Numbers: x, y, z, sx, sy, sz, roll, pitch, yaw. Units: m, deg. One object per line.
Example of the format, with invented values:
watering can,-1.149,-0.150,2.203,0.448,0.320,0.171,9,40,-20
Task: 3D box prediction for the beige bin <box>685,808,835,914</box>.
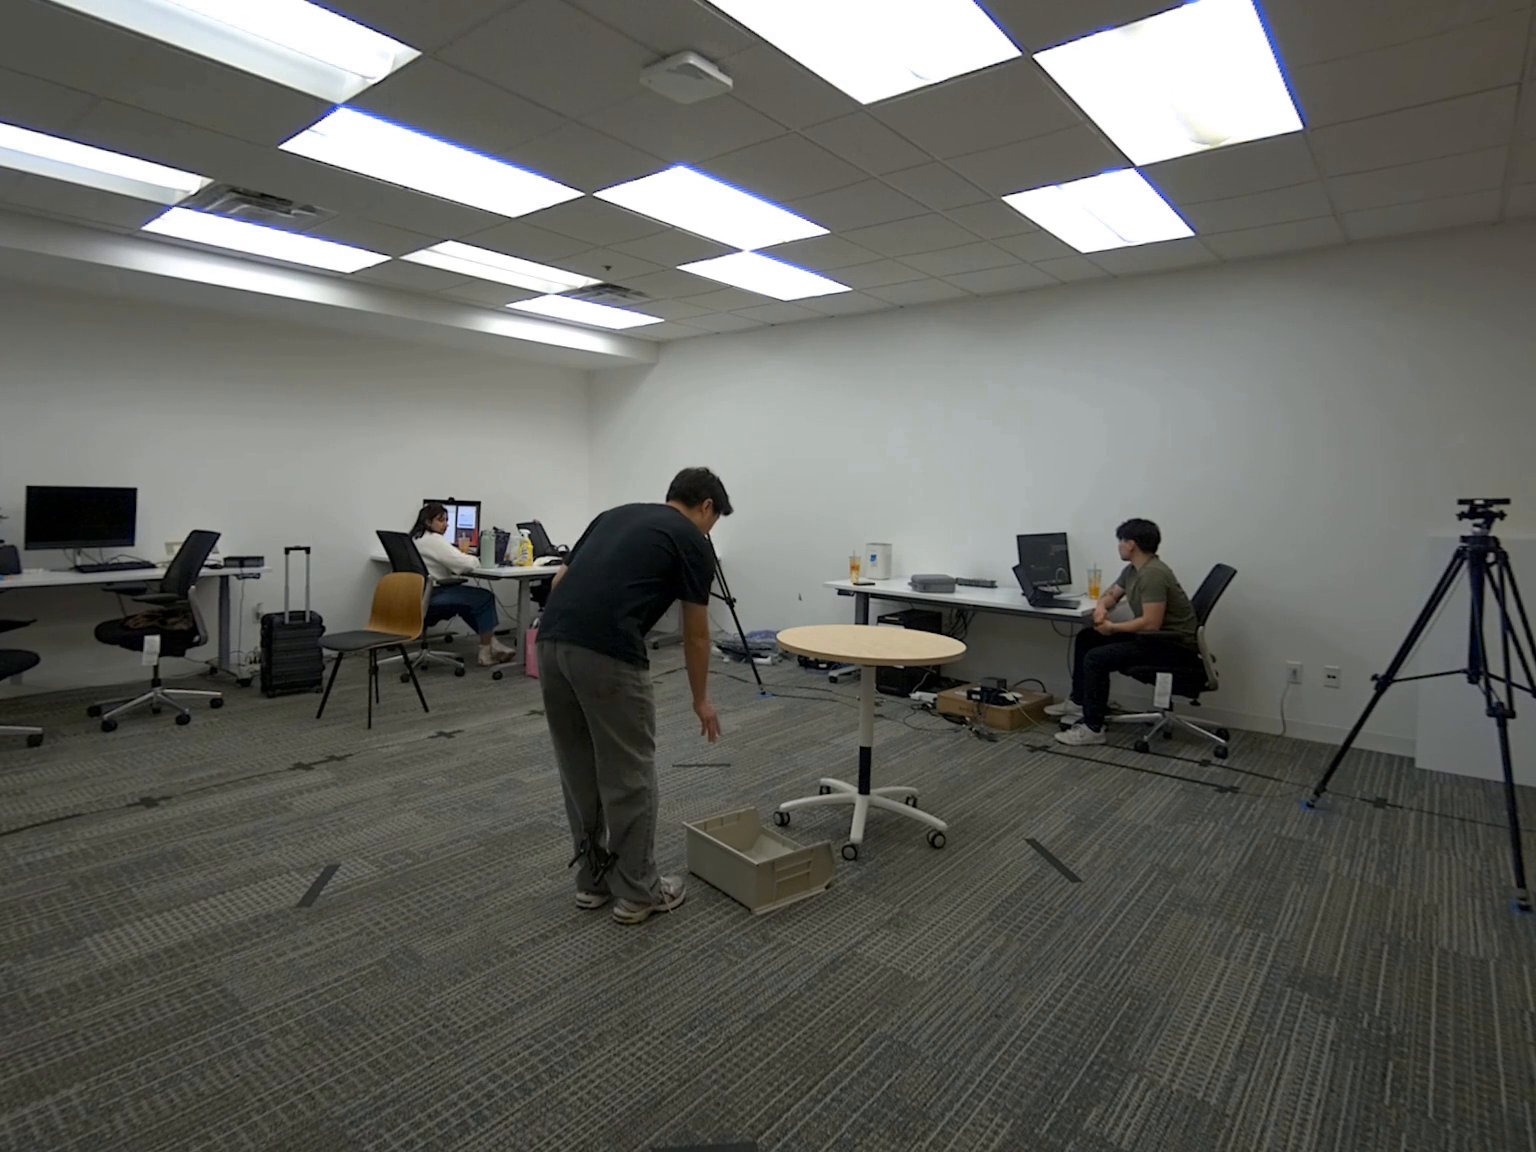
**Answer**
beige bin,-0.044,0.990,3.034,0.366,0.188,0.437,-4,7,-39
